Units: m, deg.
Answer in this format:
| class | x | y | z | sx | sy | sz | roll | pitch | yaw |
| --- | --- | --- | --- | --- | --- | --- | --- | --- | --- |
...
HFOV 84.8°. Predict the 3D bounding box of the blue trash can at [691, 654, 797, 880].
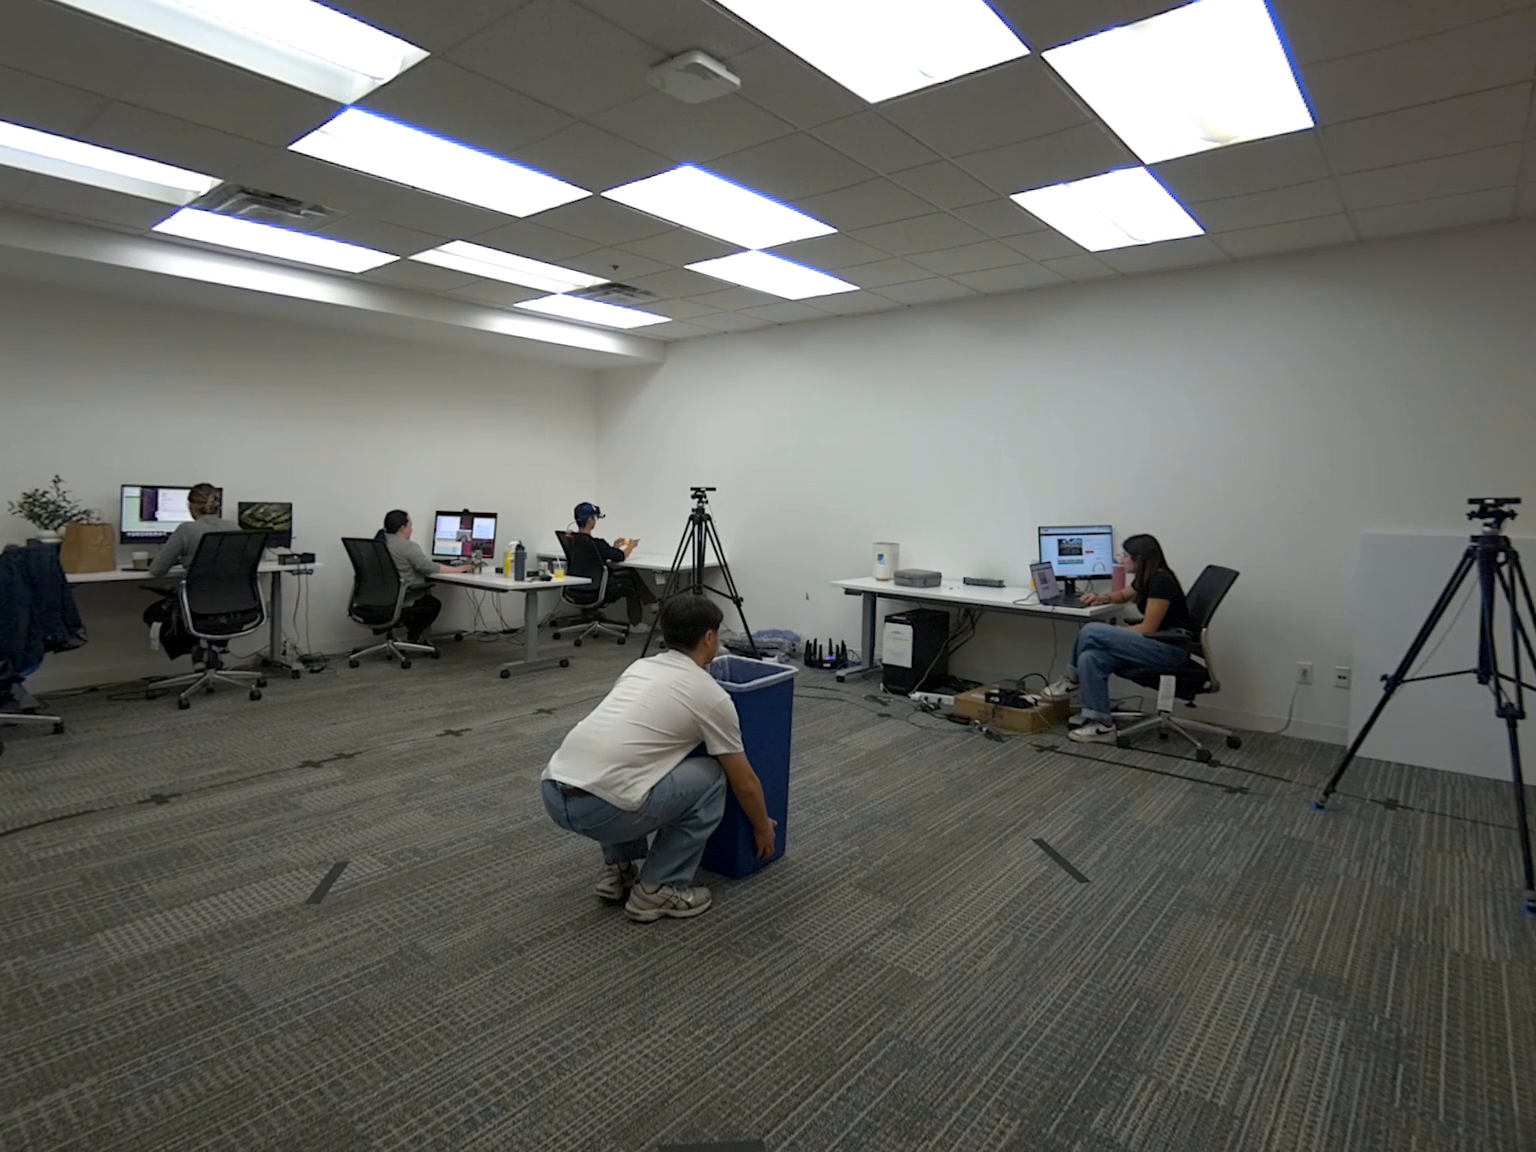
| class | x | y | z | sx | sy | sz | roll | pitch | yaw |
| --- | --- | --- | --- | --- | --- | --- | --- | --- | --- |
| blue trash can | -0.133 | 0.696 | 3.199 | 0.386 | 0.711 | 0.367 | 3 | 5 | 38 |
